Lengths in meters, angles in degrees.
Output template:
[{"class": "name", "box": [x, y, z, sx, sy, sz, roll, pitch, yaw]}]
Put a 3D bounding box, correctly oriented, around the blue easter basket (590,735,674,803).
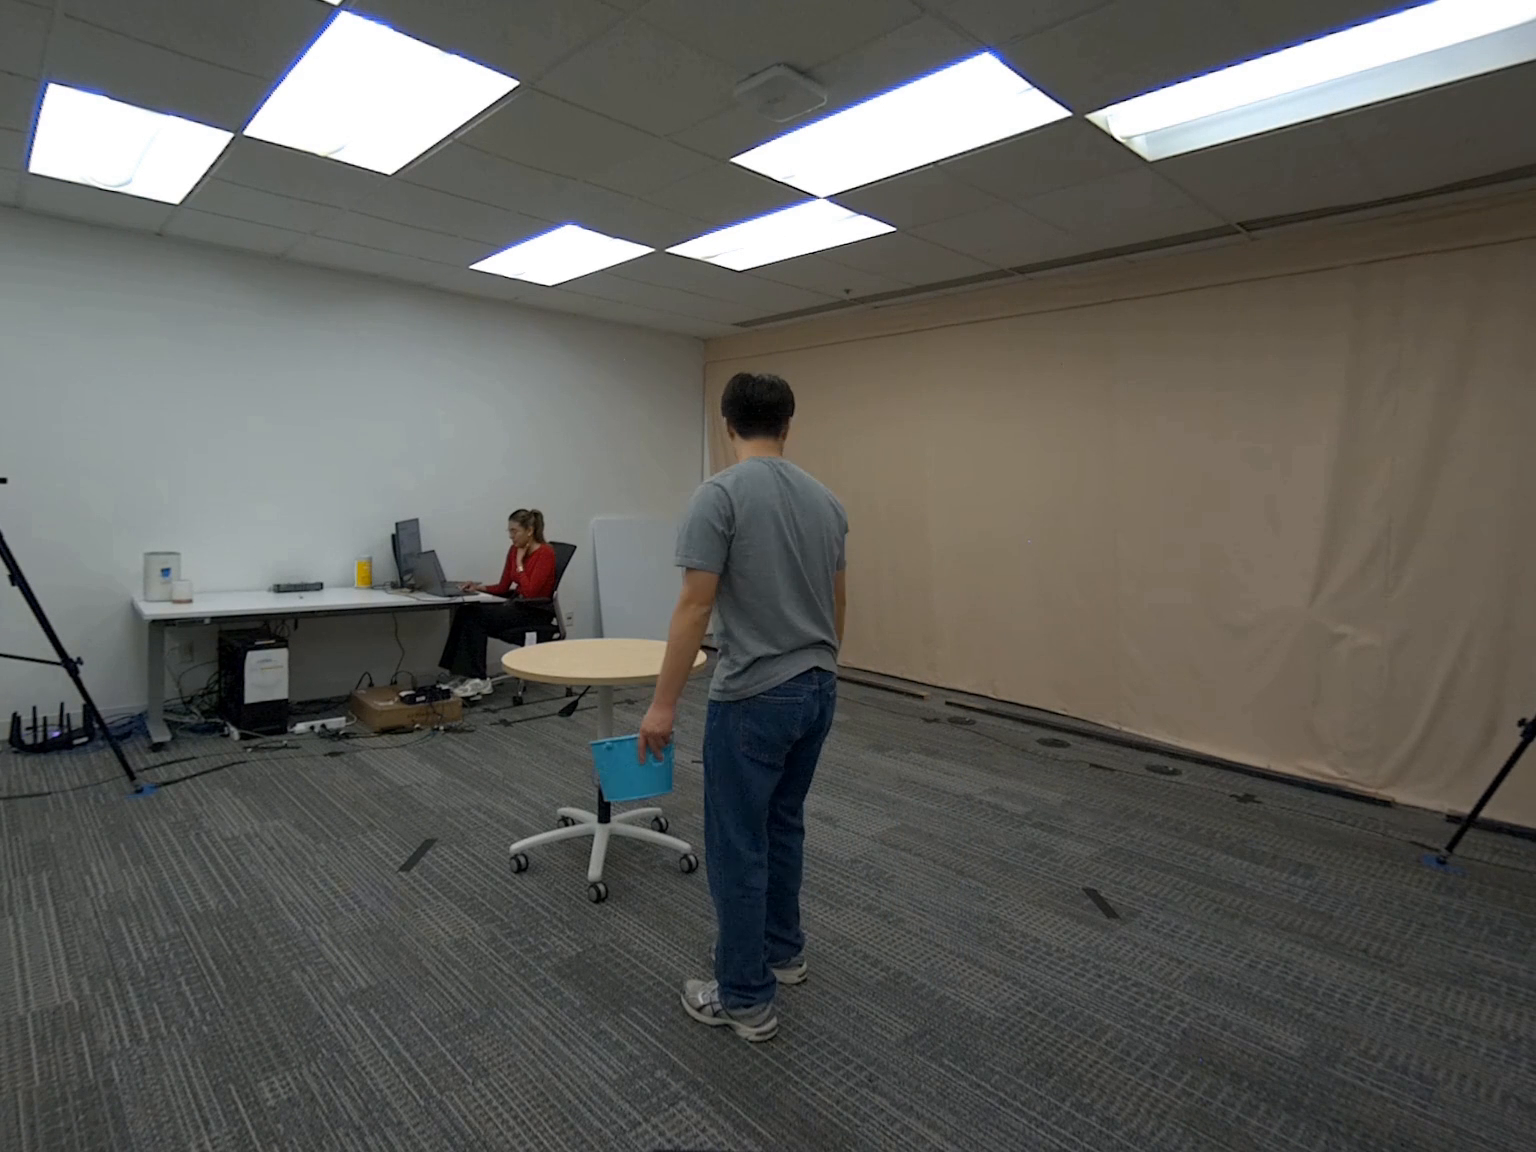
[{"class": "blue easter basket", "box": [-0.337, 0.495, 2.218, 0.243, 0.157, 0.242, -7, -8, -2]}]
